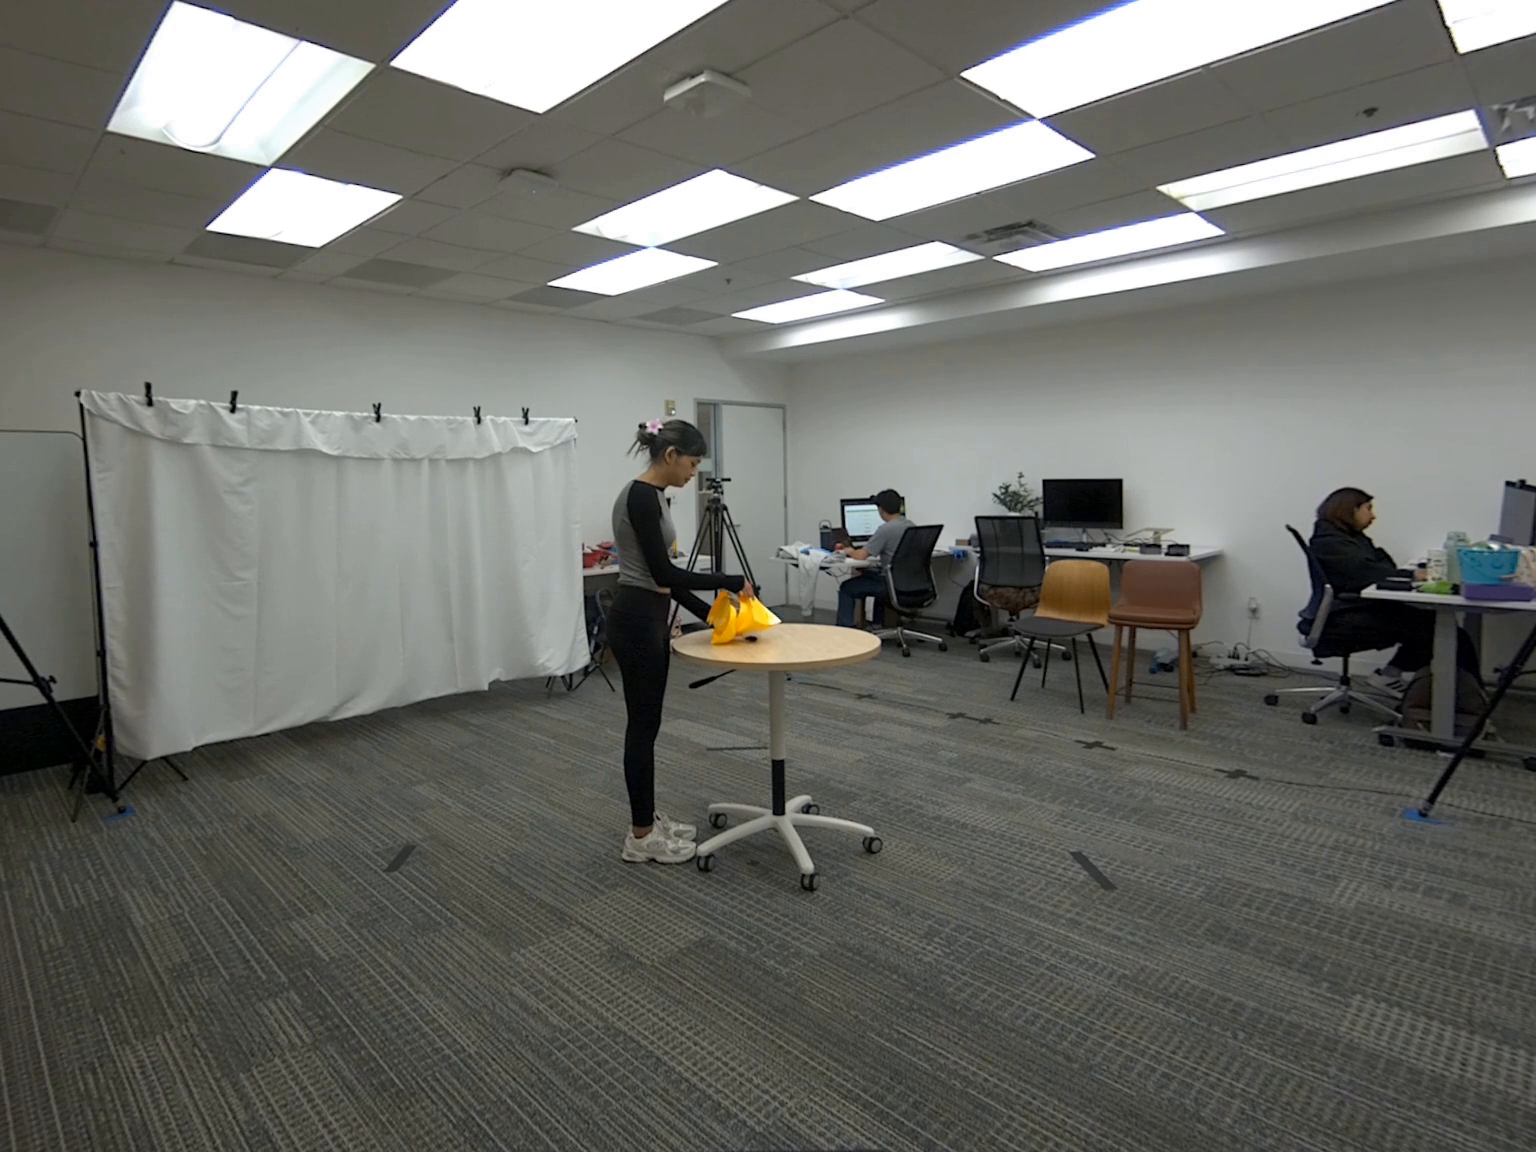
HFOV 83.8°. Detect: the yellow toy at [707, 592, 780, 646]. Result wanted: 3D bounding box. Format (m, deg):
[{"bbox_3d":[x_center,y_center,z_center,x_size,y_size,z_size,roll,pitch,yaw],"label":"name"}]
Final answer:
[{"bbox_3d":[-0.083,0.179,3.185,0.225,0.192,0.211,21,28,-22],"label":"yellow toy"}]
